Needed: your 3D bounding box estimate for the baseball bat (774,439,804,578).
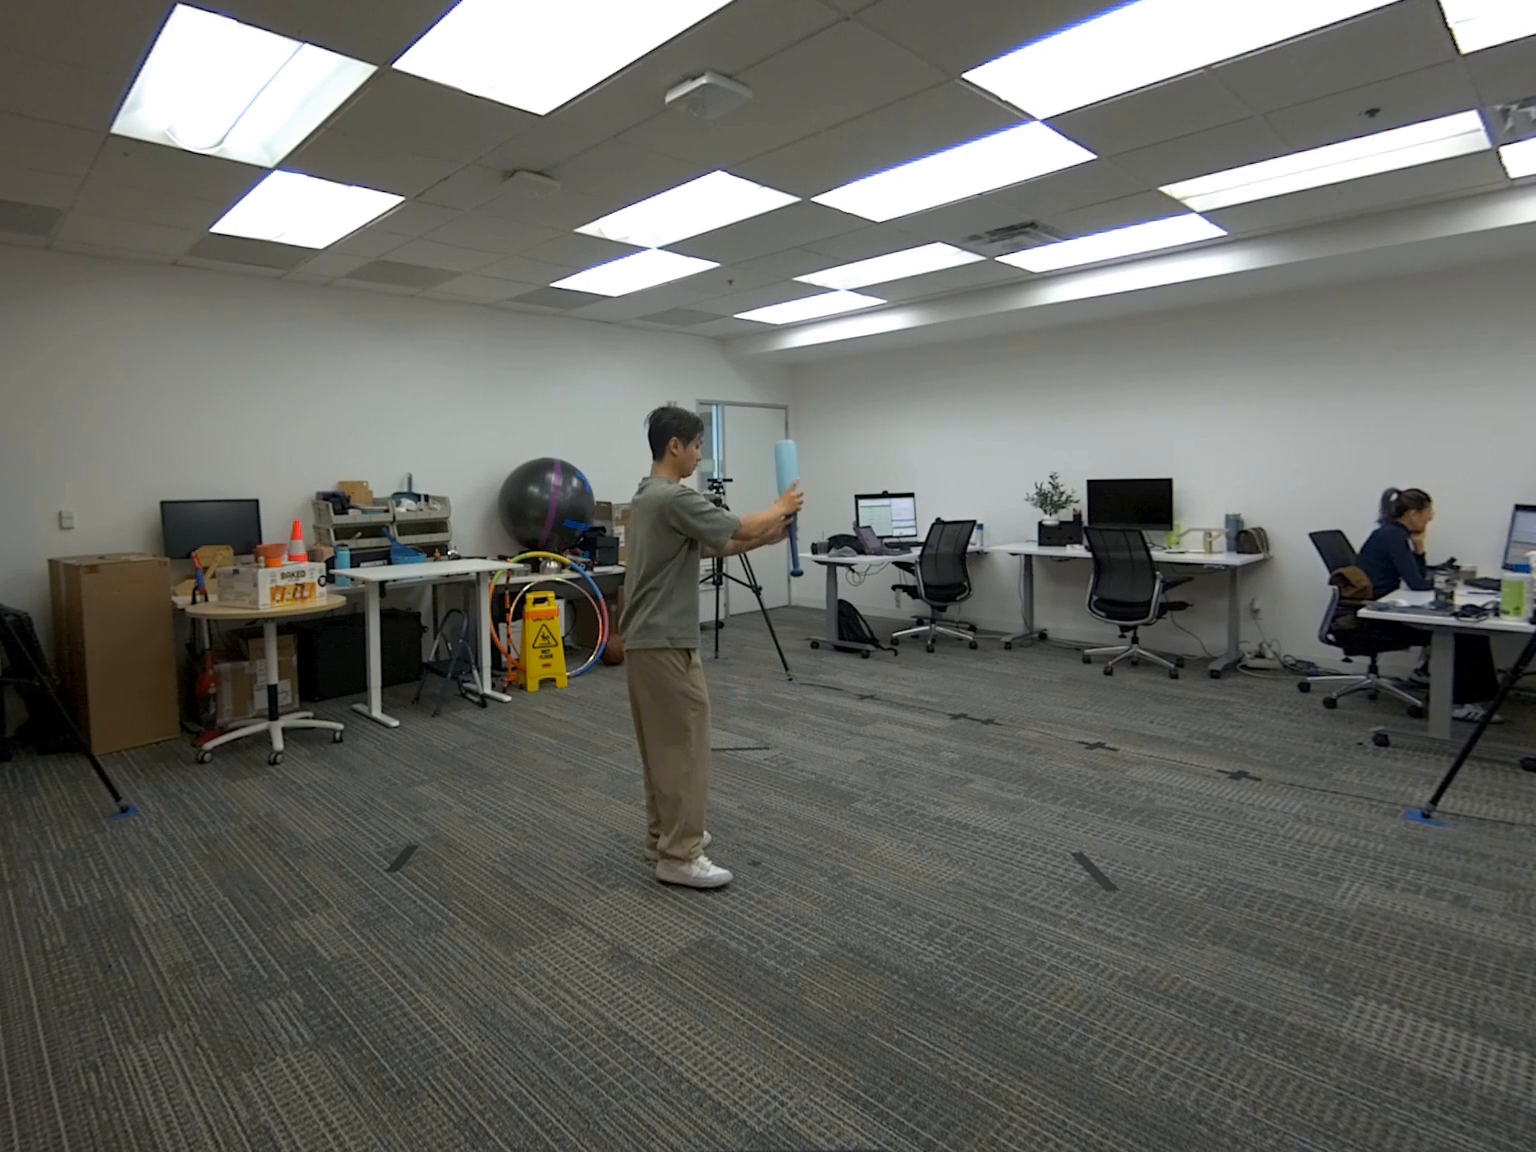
[{"bbox_3d":[0.087,-0.242,3.264,0.089,0.552,0.088,-2,-17,-2],"label":"baseball bat"}]
